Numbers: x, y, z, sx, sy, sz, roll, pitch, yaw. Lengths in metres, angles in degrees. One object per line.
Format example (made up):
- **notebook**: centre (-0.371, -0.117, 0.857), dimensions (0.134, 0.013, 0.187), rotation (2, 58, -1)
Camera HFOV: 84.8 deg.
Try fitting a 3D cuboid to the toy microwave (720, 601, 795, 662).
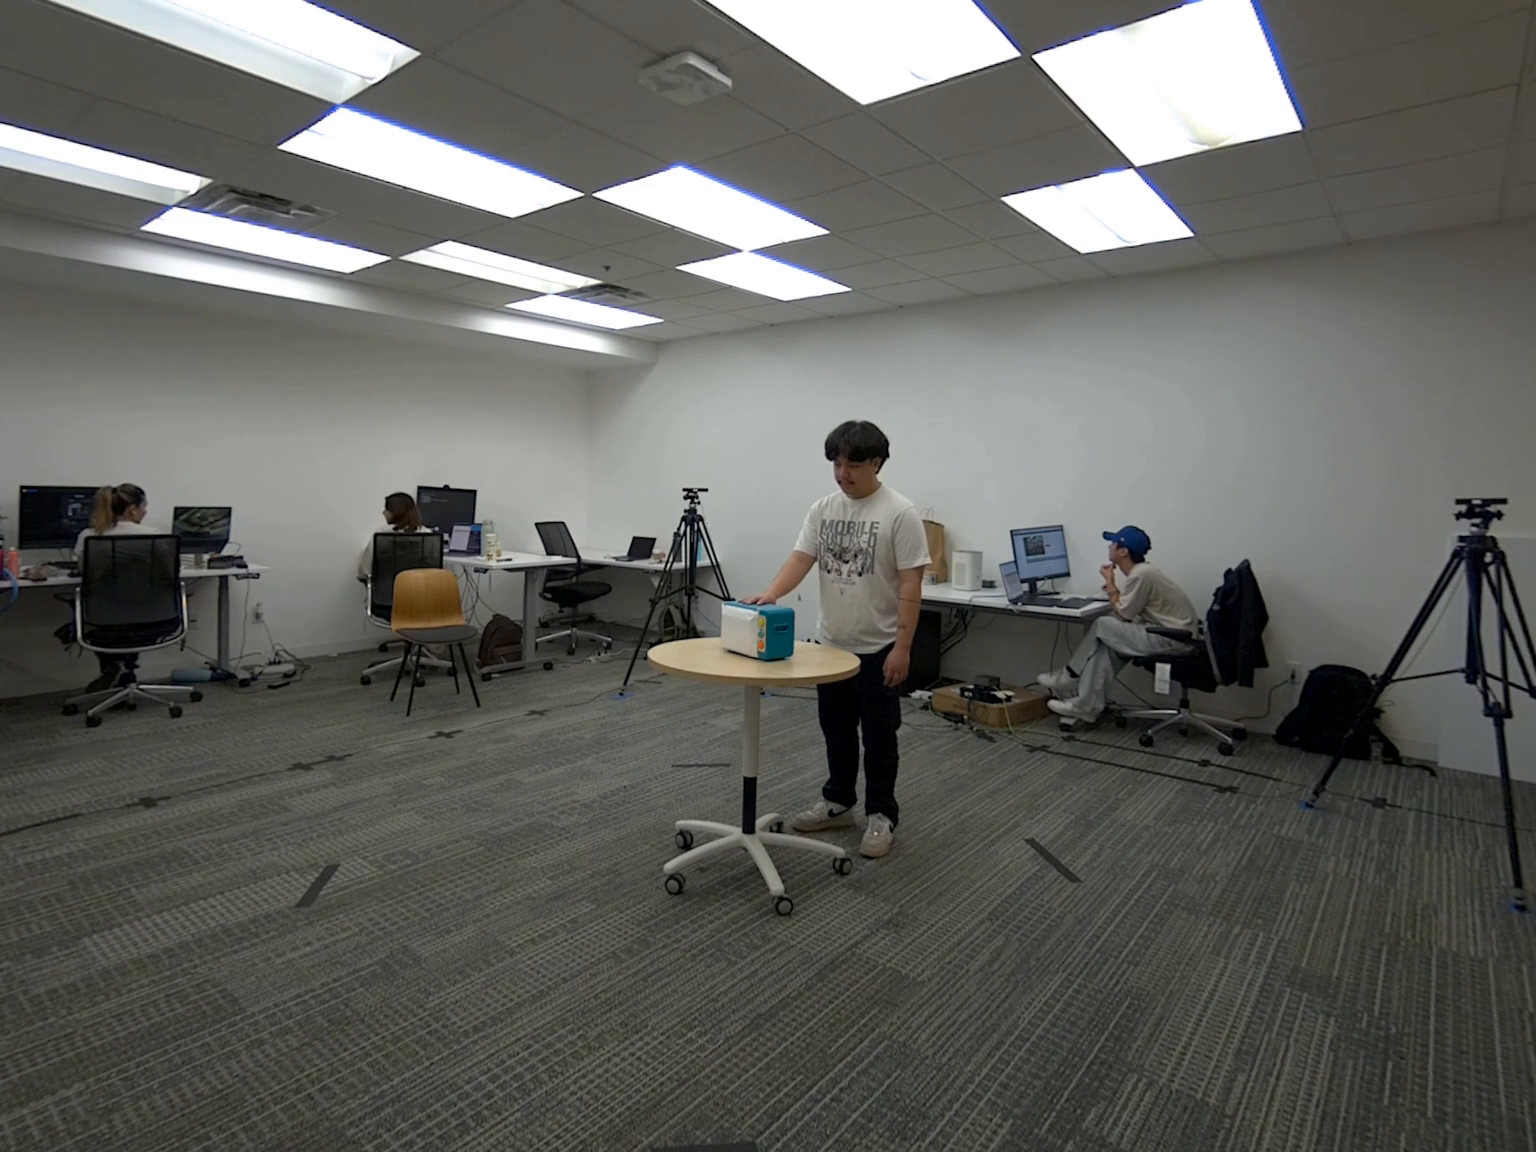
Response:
- **toy microwave**: centre (-0.053, 0.190, 3.082), dimensions (0.148, 0.183, 0.296), rotation (-1, 5, -37)
